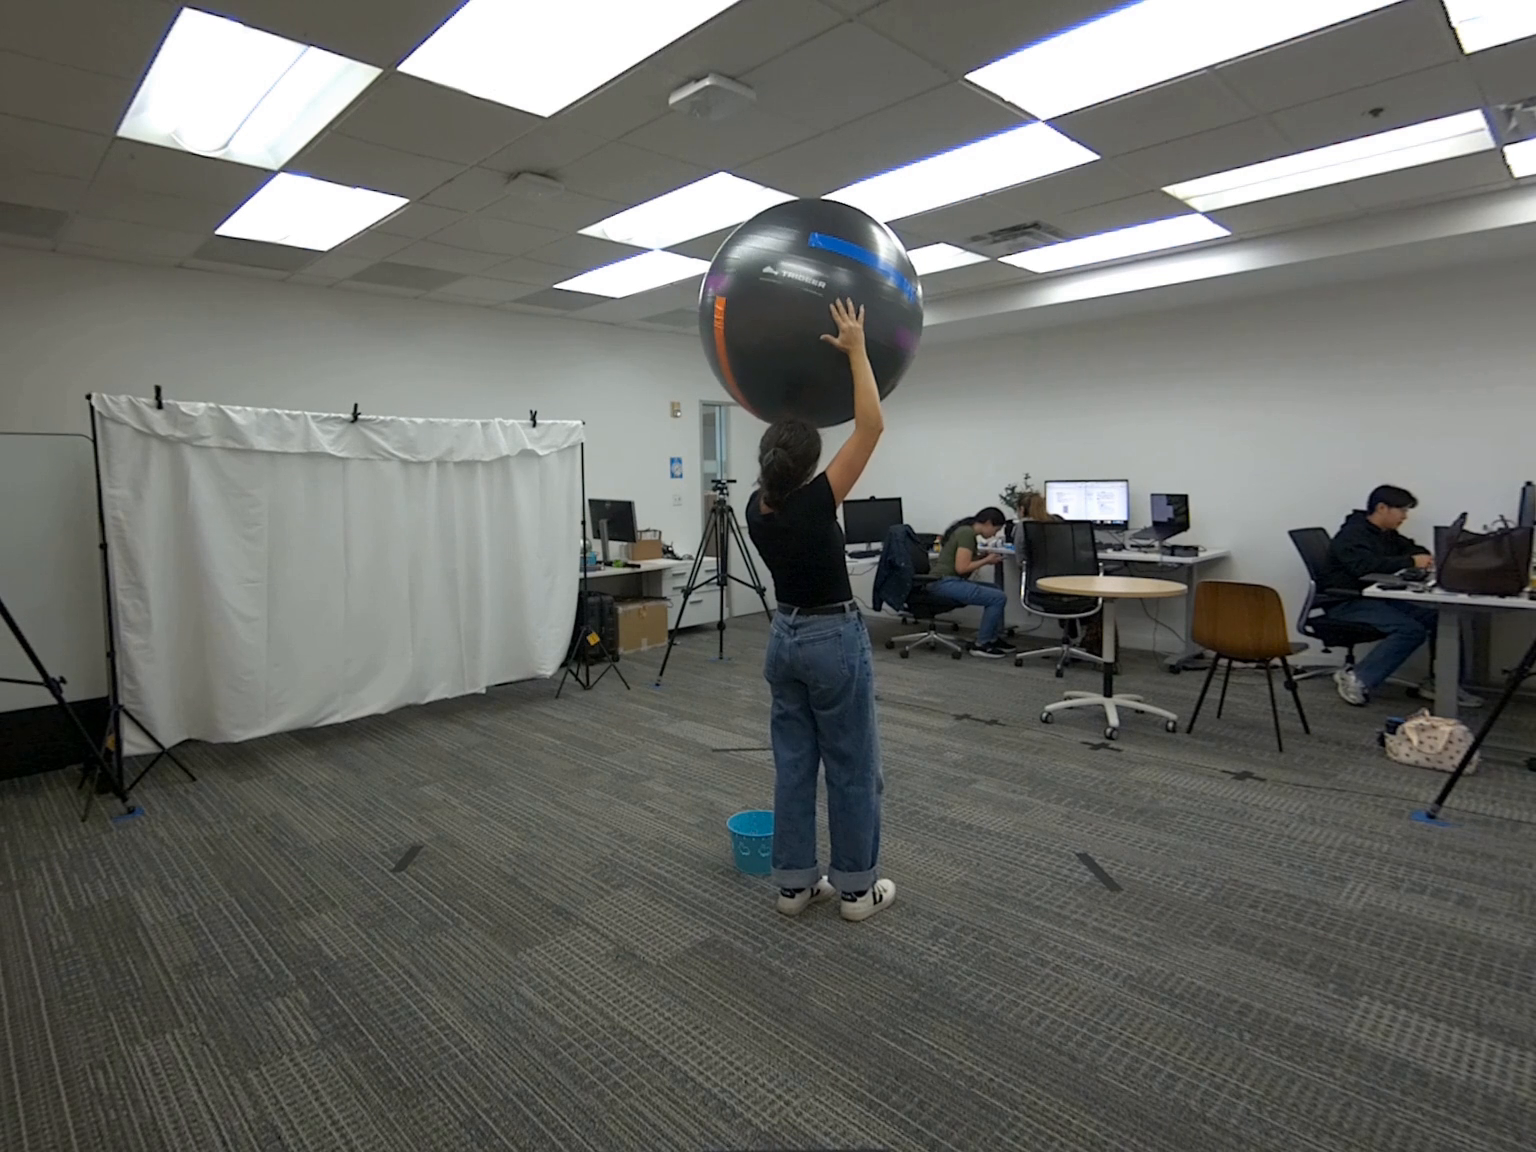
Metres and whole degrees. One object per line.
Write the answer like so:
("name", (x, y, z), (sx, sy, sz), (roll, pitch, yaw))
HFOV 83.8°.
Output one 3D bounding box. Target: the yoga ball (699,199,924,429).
("yoga ball", (0.146, -0.880, 2.912), (0.757, 0.755, 0.762), (-1, 5, -2))
